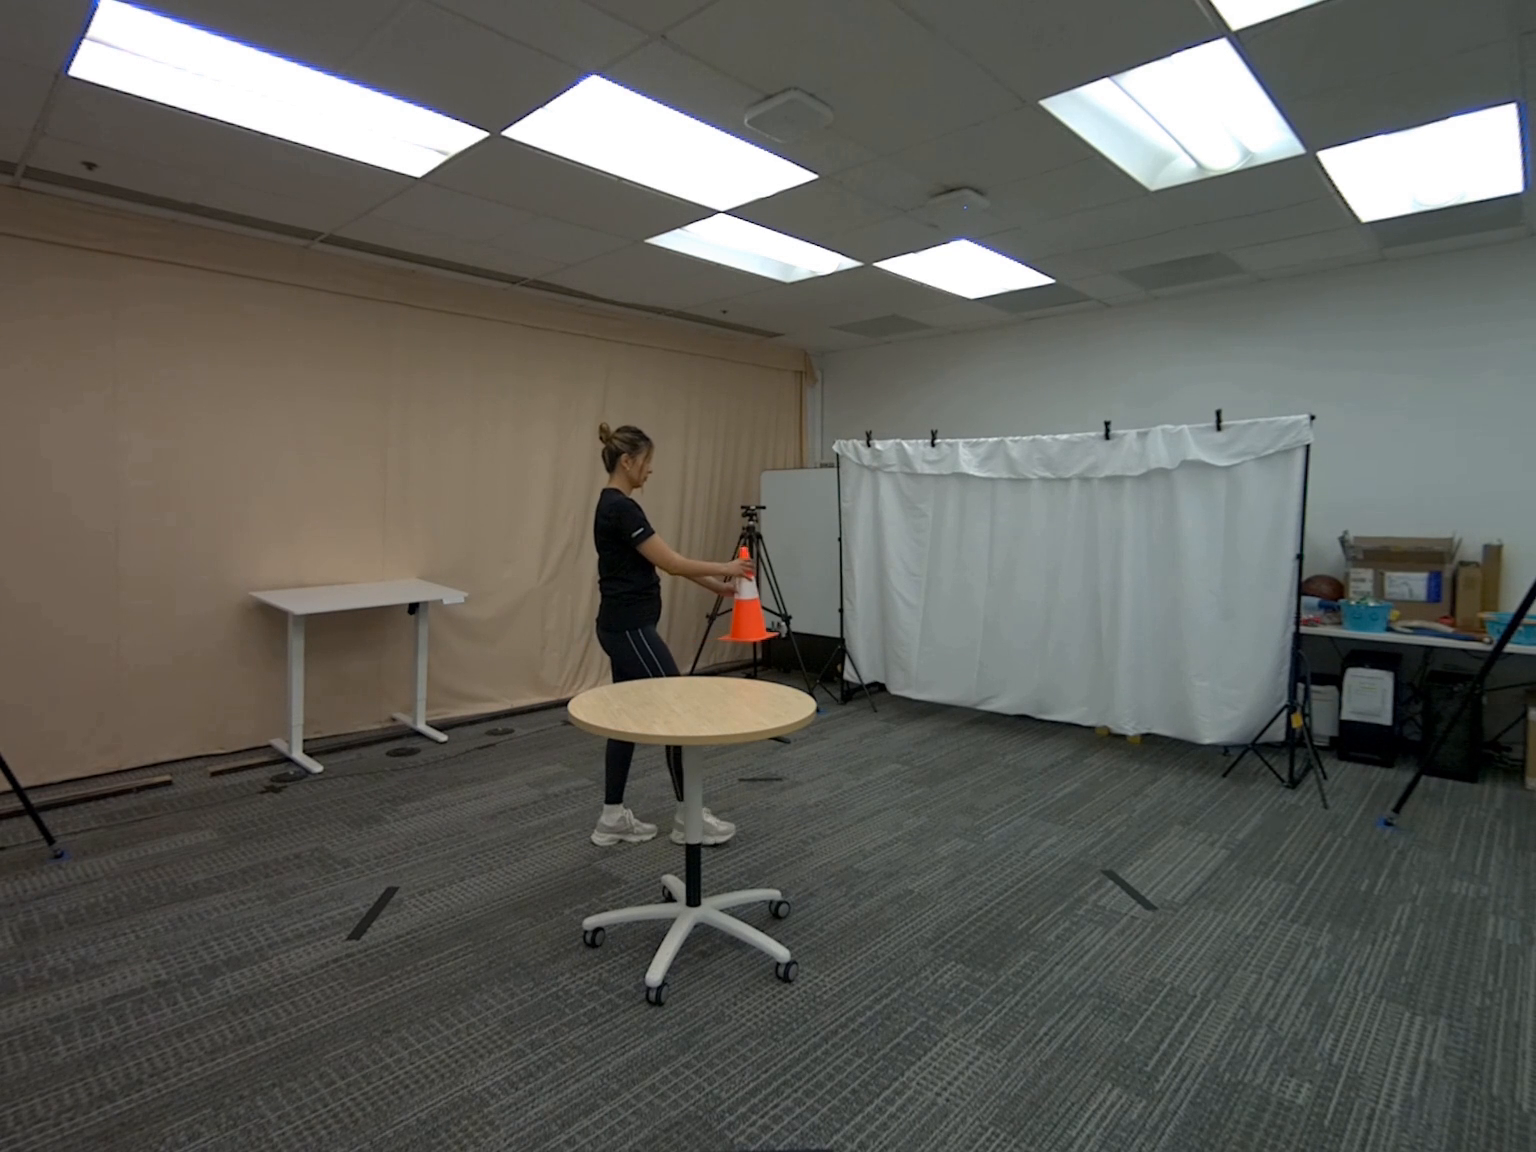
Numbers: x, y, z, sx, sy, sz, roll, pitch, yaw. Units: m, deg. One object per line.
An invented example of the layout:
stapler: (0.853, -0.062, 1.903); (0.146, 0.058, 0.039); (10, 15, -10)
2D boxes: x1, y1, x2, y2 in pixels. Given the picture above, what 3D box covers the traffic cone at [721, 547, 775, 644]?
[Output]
traffic cone: (-0.090, 0.071, 3.573); (0.201, 0.382, 0.208); (-3, 6, -11)
